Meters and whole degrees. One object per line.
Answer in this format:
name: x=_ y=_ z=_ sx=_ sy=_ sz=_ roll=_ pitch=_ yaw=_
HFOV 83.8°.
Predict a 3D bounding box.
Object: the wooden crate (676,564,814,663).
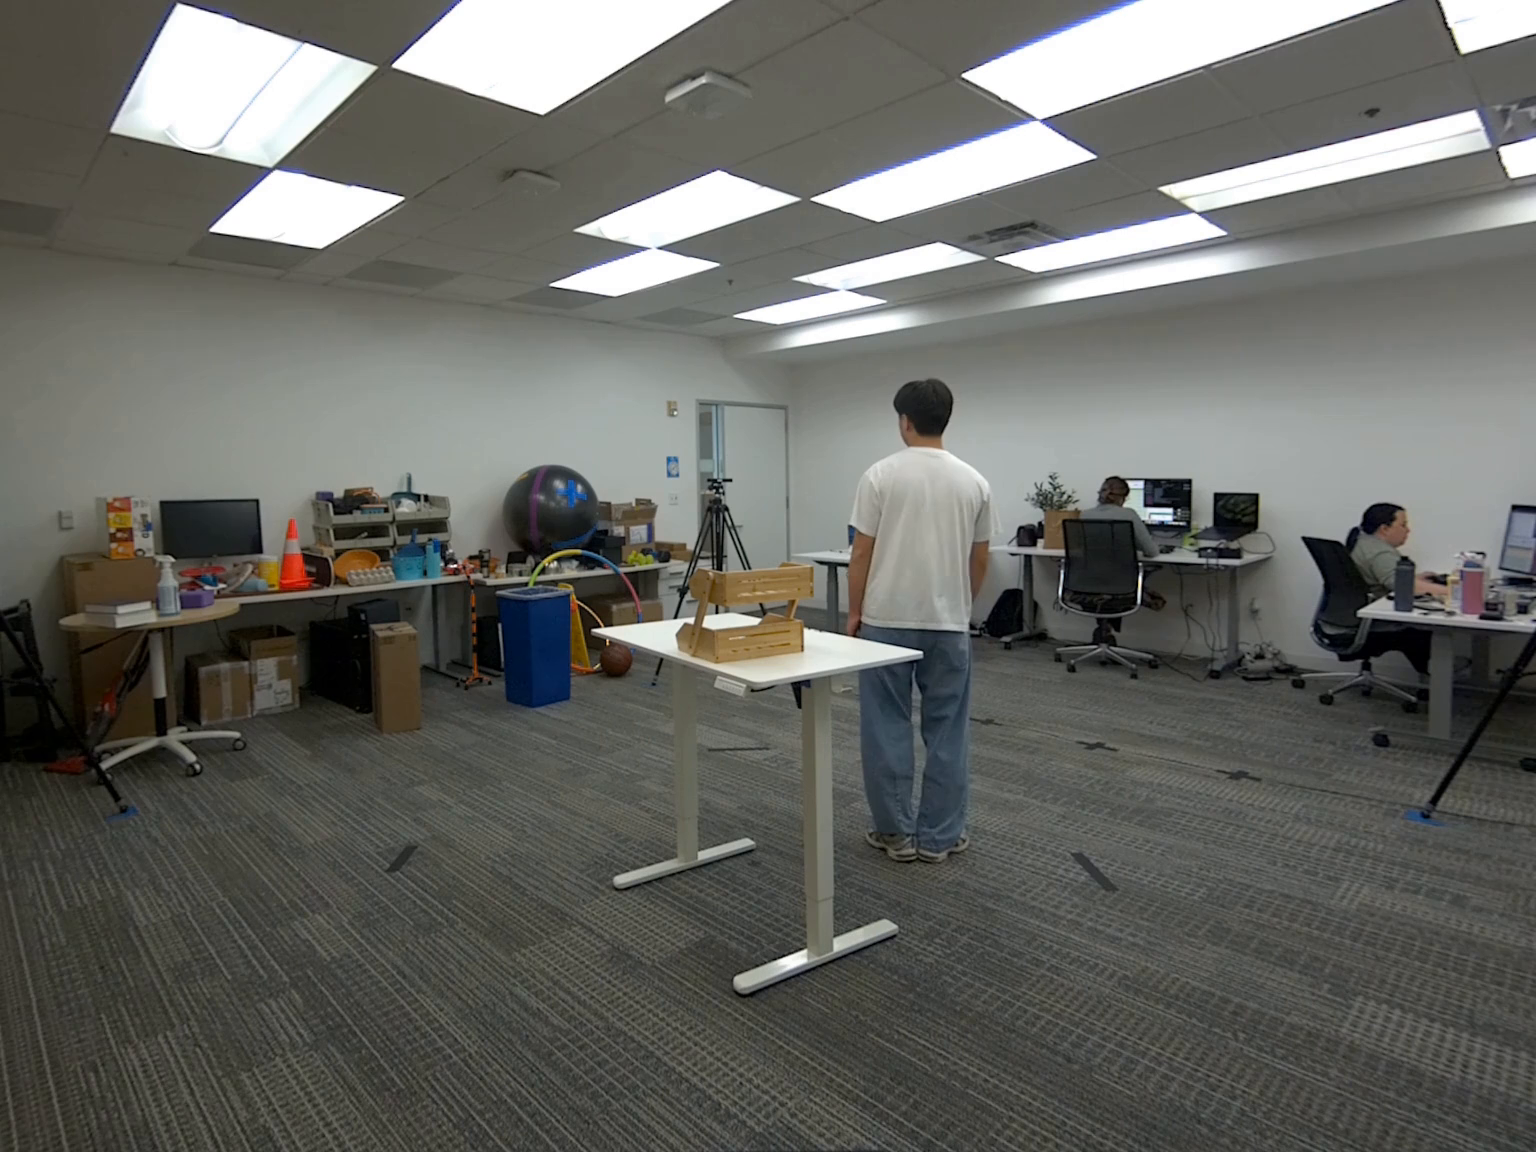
wooden crate: x=-0.068 y=0.094 z=2.529 sx=0.317 sy=0.272 sz=0.311 roll=-5 pitch=7 yaw=-31
